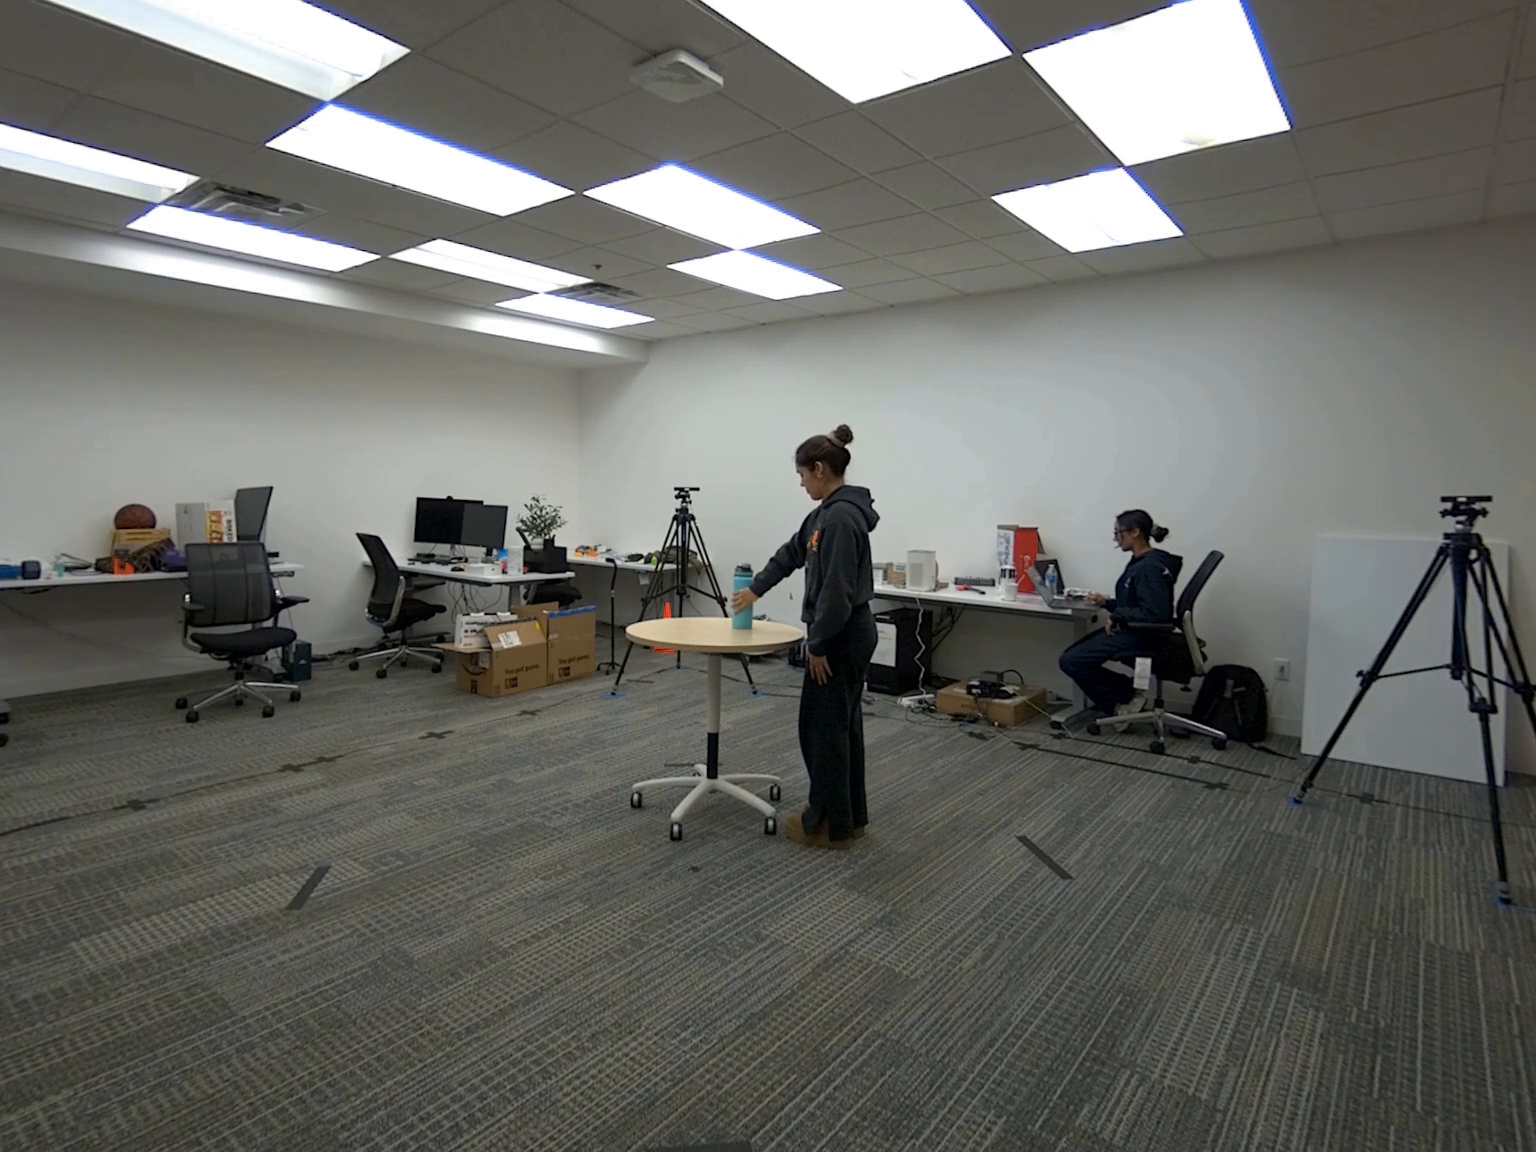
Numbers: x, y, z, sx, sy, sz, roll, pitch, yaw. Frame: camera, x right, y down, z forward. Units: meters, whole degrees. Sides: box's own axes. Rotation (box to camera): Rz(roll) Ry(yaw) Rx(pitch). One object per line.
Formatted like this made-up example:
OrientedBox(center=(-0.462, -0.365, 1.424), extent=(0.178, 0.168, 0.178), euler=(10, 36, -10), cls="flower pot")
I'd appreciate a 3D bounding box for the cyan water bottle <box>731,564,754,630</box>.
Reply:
OrientedBox(center=(-0.115, 0.075, 3.750), extent=(0.092, 0.283, 0.092), euler=(4, 1, -2), cls="cyan water bottle")
